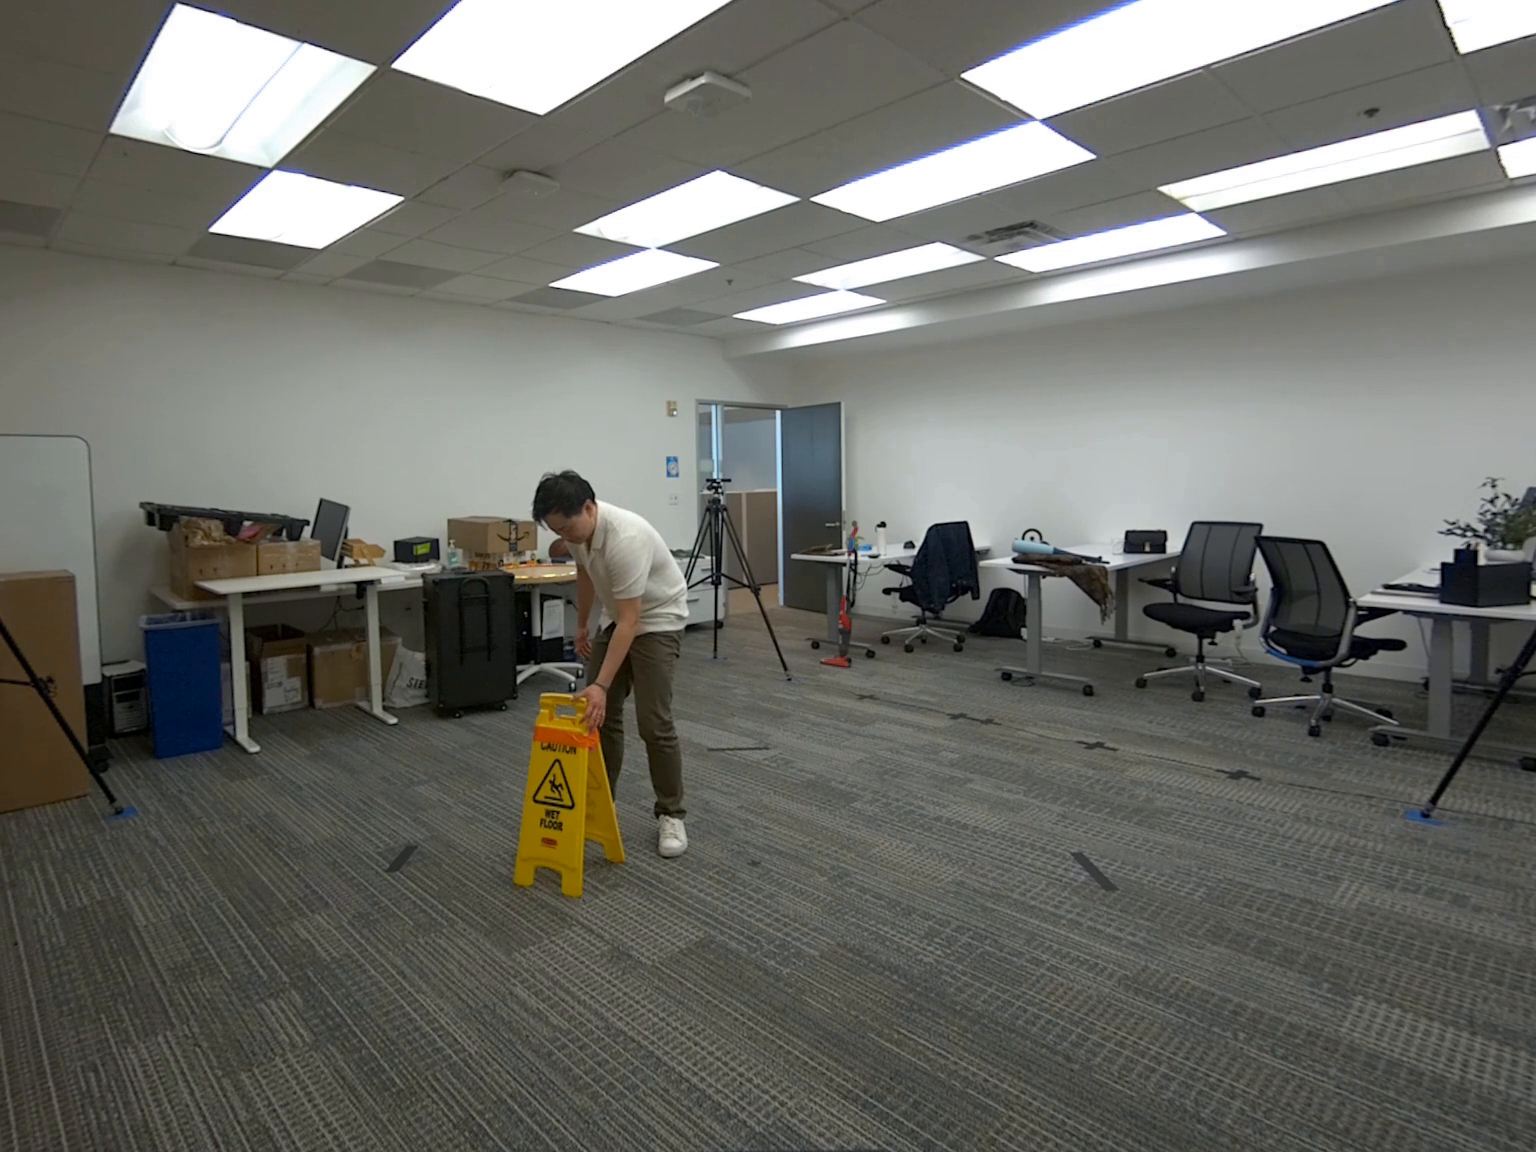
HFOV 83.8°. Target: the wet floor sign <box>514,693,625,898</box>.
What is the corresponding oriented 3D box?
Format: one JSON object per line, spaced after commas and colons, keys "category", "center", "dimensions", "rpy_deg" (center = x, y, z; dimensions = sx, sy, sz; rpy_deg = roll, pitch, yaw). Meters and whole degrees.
{"category": "wet floor sign", "center": [-0.710, 0.743, 3.035], "dimensions": [0.288, 0.643, 0.285], "rpy_deg": [0, 5, 23]}
